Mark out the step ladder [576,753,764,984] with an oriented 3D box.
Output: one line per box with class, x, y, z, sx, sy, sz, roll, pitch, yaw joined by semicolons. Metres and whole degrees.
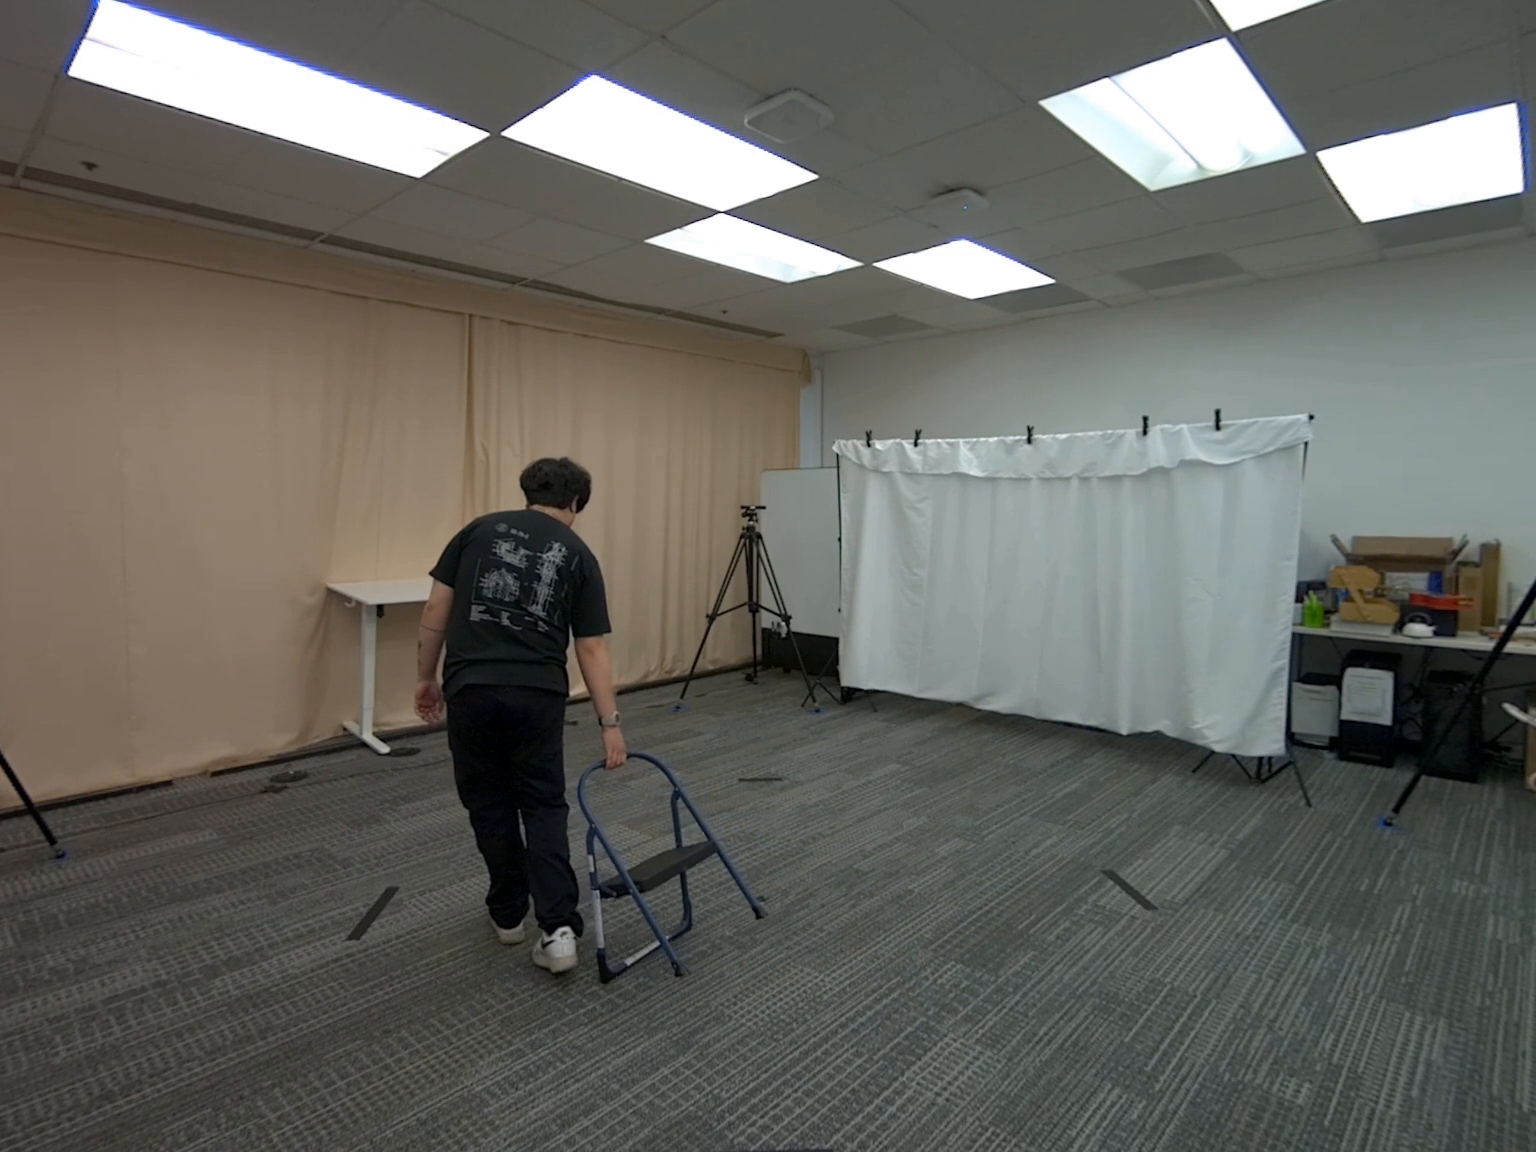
step ladder;-0.335;0.842;2.579;0.356;0.612;0.418;-26;-12;34
